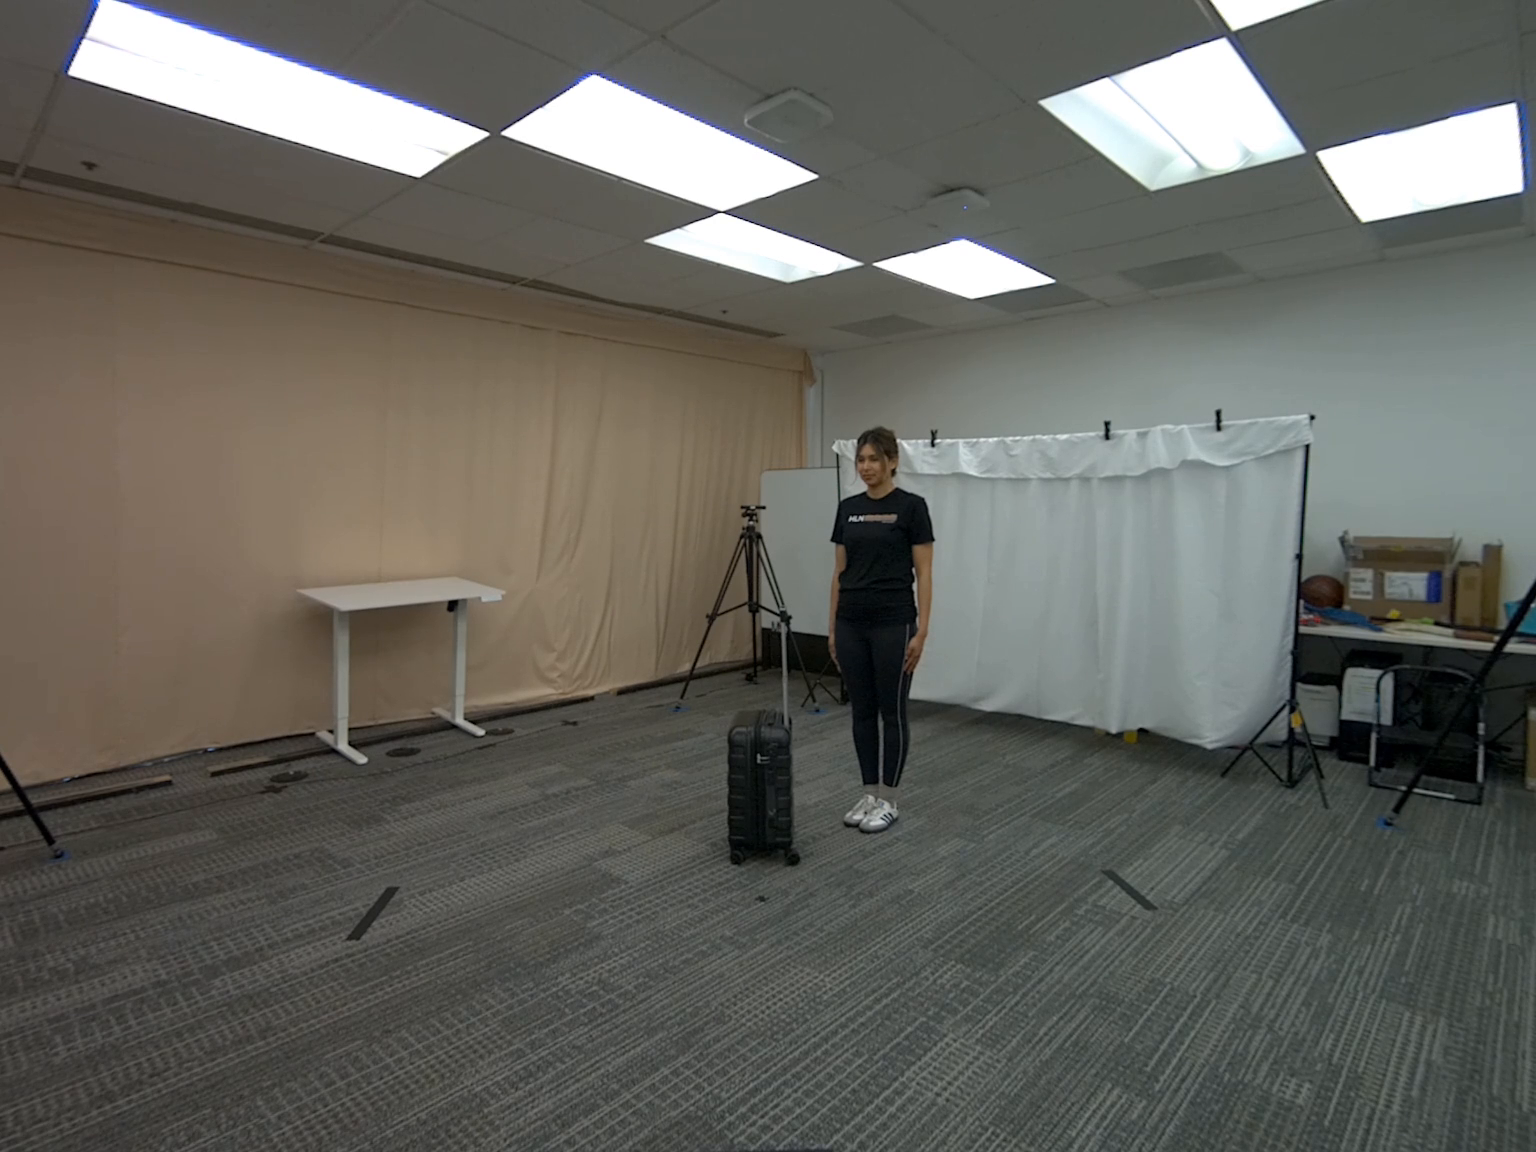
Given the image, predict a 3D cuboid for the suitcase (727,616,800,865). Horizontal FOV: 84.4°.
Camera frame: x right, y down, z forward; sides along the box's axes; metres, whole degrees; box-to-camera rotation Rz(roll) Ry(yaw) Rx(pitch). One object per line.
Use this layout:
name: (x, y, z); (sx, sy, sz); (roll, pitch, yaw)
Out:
suitcase: (-0.032, 0.629, 3.400); (0.258, 0.977, 0.384); (-2, 3, 1)
